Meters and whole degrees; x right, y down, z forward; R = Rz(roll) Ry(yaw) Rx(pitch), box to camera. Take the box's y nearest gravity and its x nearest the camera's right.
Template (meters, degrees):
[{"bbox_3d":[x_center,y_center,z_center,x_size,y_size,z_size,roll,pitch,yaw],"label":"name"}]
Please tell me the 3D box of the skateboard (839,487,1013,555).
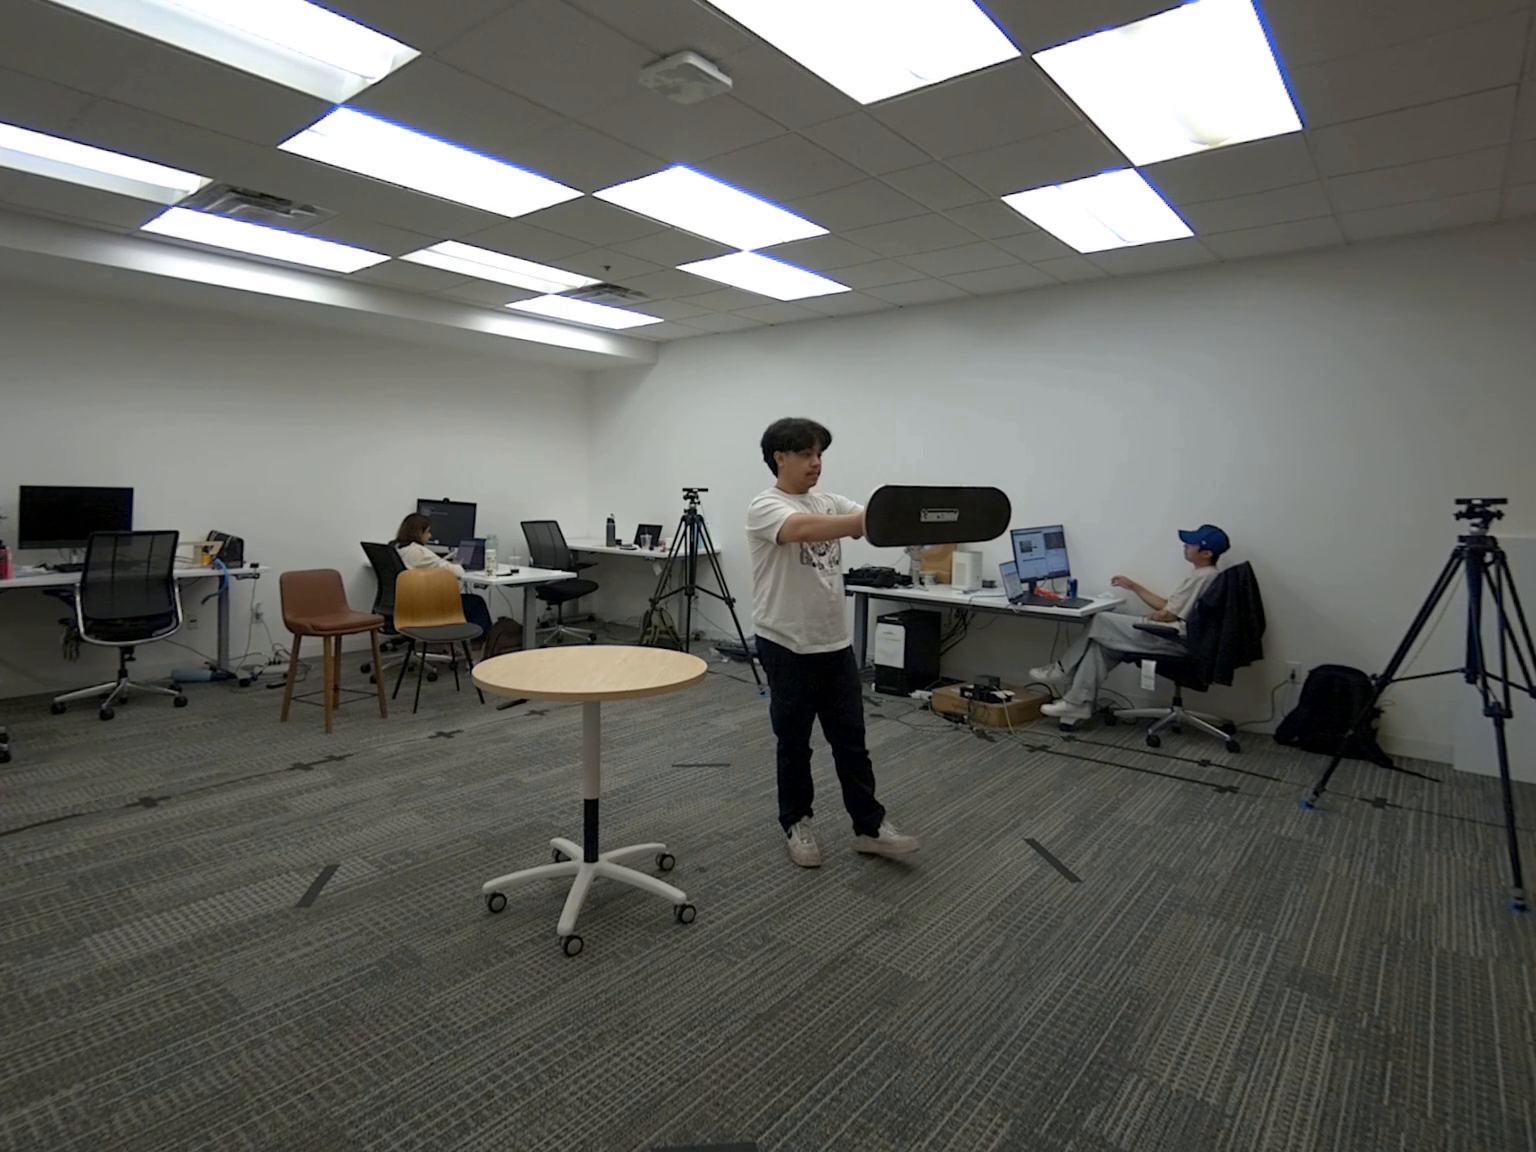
[{"bbox_3d":[0.537,-0.195,2.775,0.762,0.192,0.114,-5,8,-41],"label":"skateboard"}]
